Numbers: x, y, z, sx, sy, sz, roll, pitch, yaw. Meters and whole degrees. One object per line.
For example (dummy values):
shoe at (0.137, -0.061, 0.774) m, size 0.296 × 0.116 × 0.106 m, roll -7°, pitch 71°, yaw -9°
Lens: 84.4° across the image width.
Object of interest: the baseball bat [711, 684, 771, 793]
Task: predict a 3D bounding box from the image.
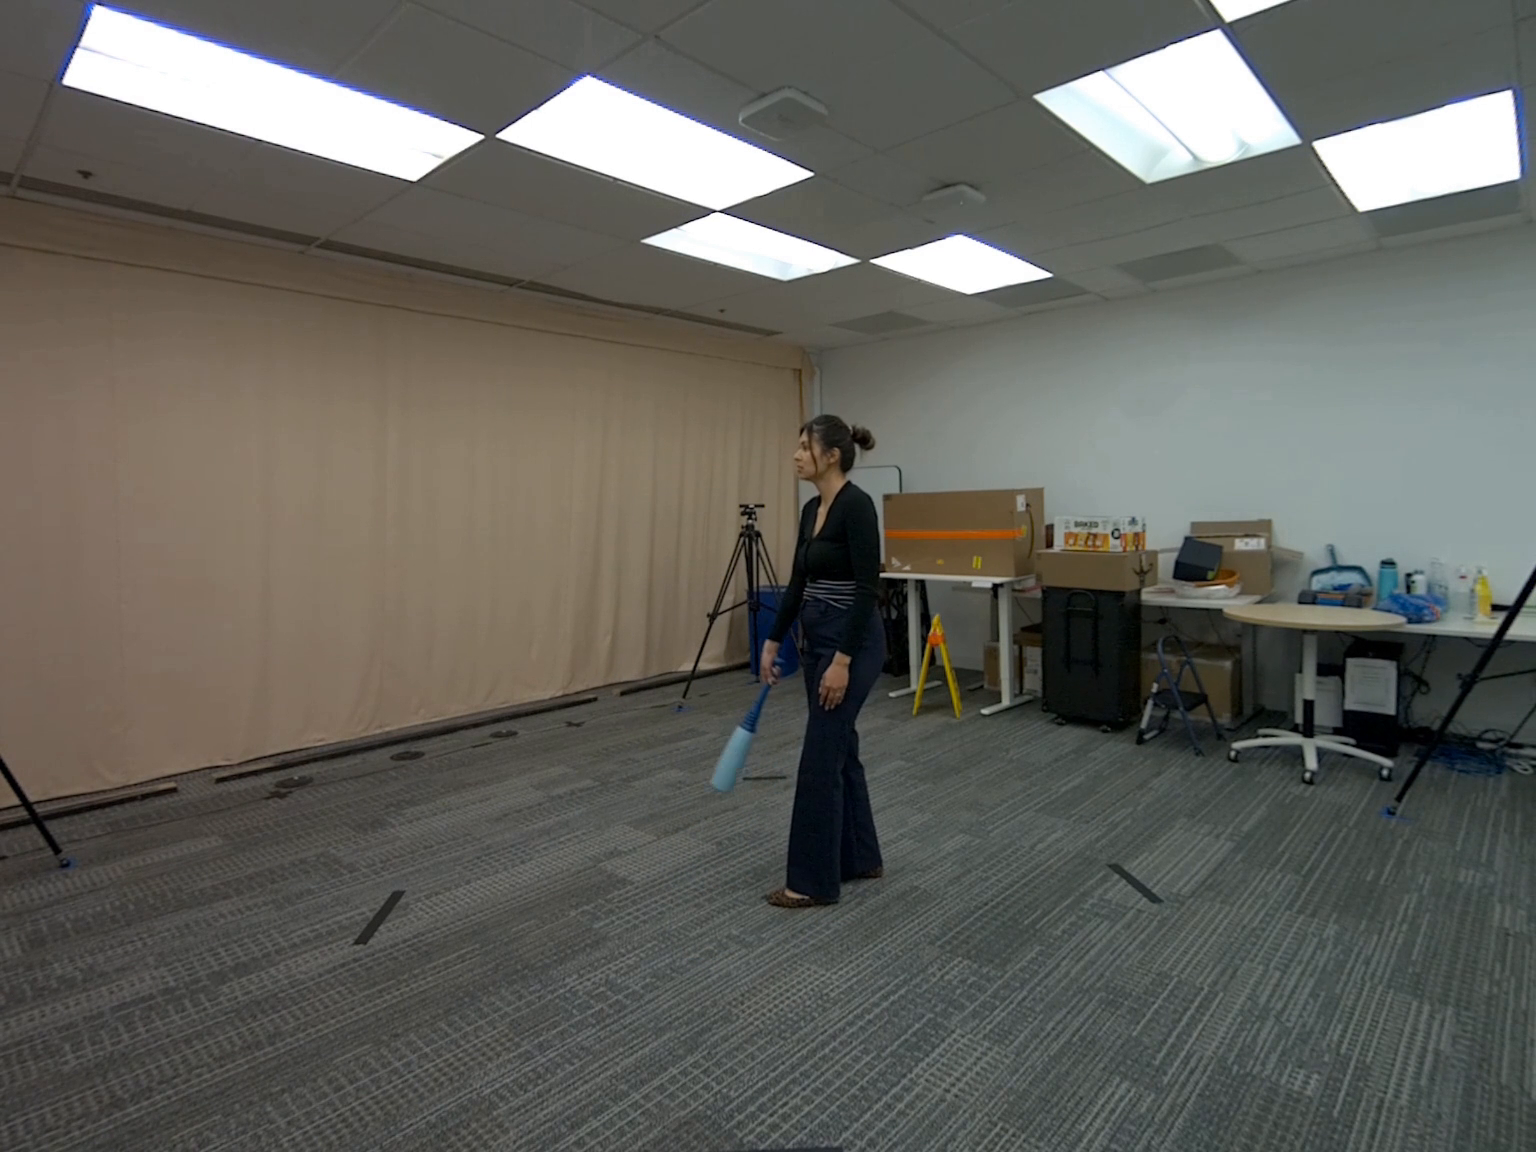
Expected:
baseball bat at (-0.083, 0.505, 3.158) m, size 0.089 × 0.543 × 0.089 m, roll 25°, pitch 0°, yaw -2°
